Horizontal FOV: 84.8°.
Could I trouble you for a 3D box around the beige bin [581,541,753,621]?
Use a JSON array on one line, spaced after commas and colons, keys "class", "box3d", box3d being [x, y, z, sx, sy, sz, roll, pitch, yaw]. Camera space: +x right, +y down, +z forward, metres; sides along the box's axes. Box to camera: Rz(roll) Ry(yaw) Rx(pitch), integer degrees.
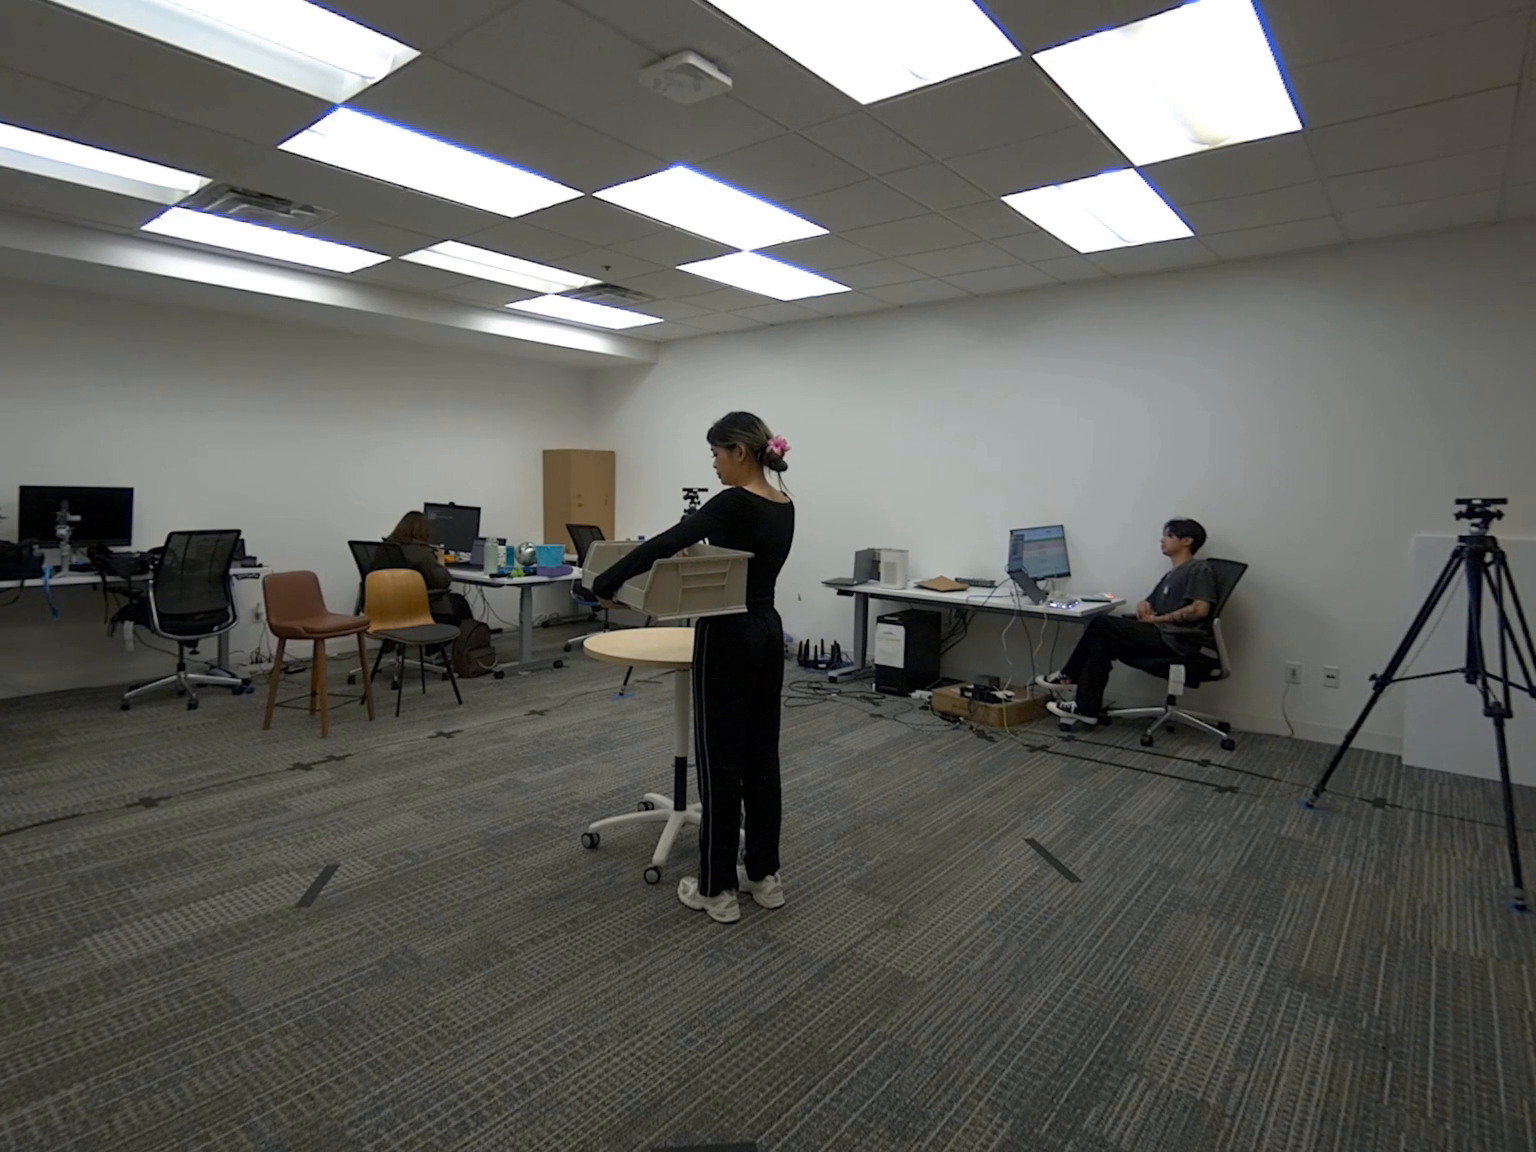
[{"class": "beige bin", "box3d": [-0.333, 0.001, 2.648, 0.366, 0.188, 0.437, -3, 9, -35]}]
